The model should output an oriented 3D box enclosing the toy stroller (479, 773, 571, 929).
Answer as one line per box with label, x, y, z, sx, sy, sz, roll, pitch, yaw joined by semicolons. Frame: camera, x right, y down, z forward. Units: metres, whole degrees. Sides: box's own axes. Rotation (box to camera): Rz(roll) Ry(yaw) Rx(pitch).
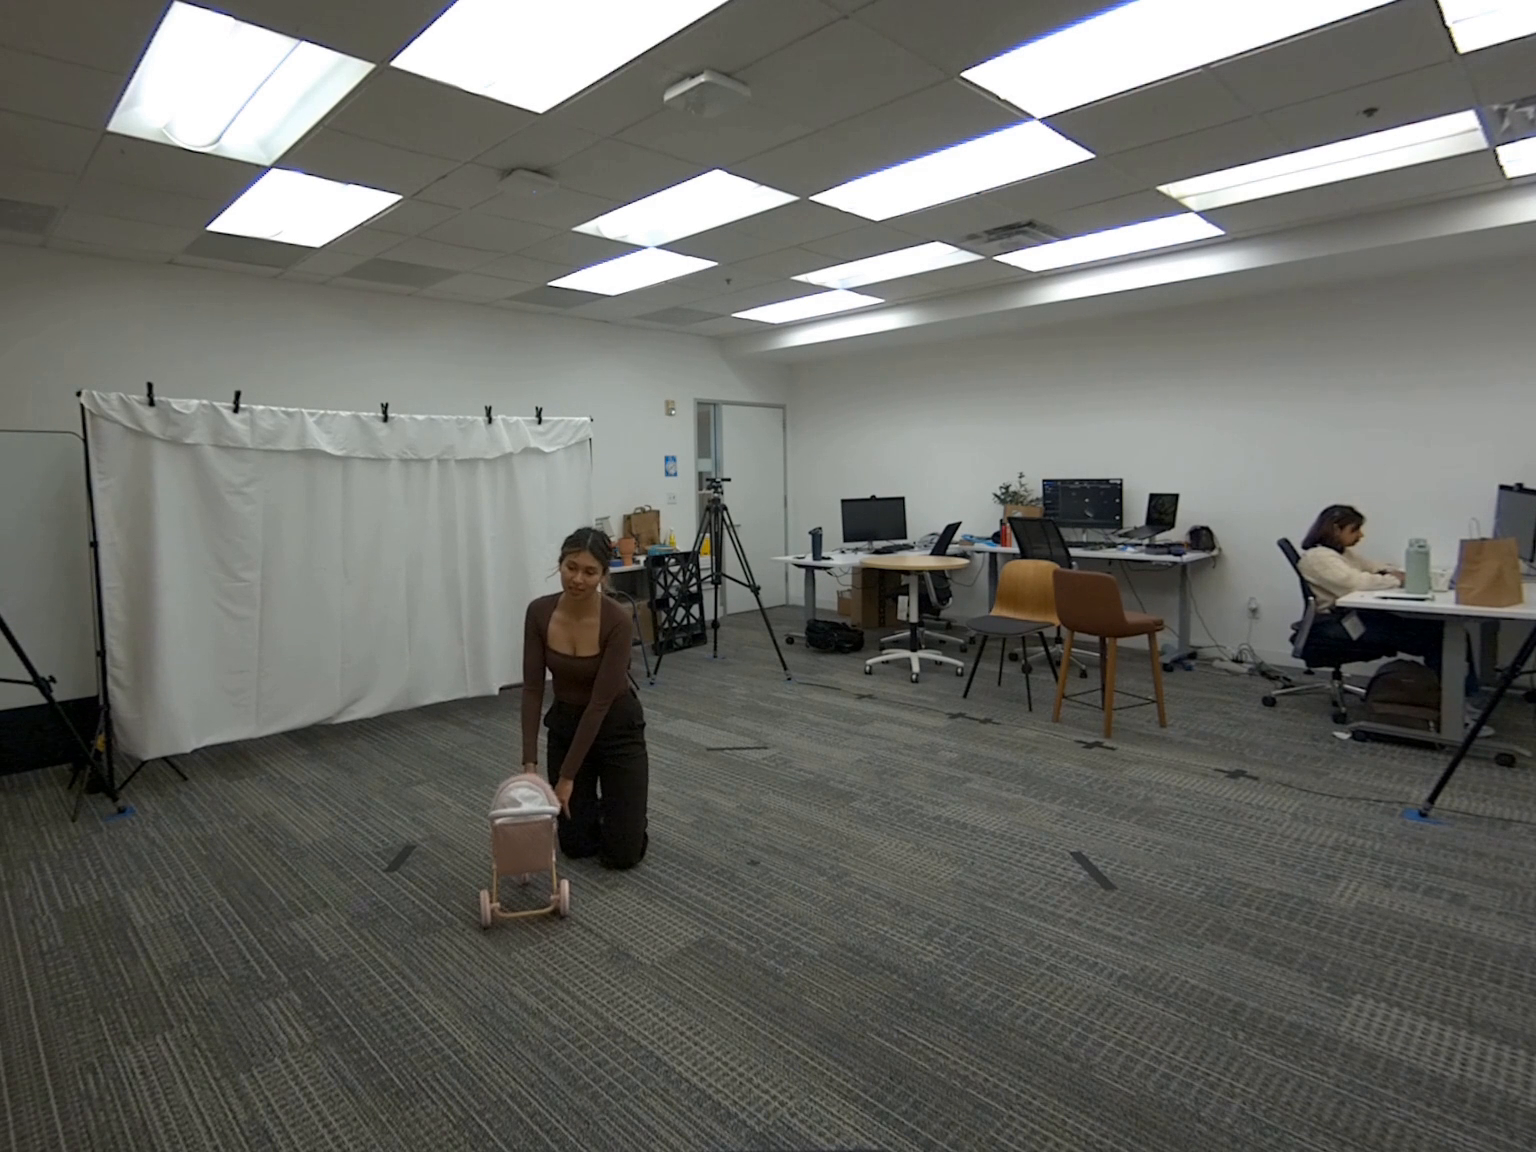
toy stroller;-0.794;0.878;2.781;0.278;0.526;0.351;-1;21;-13
